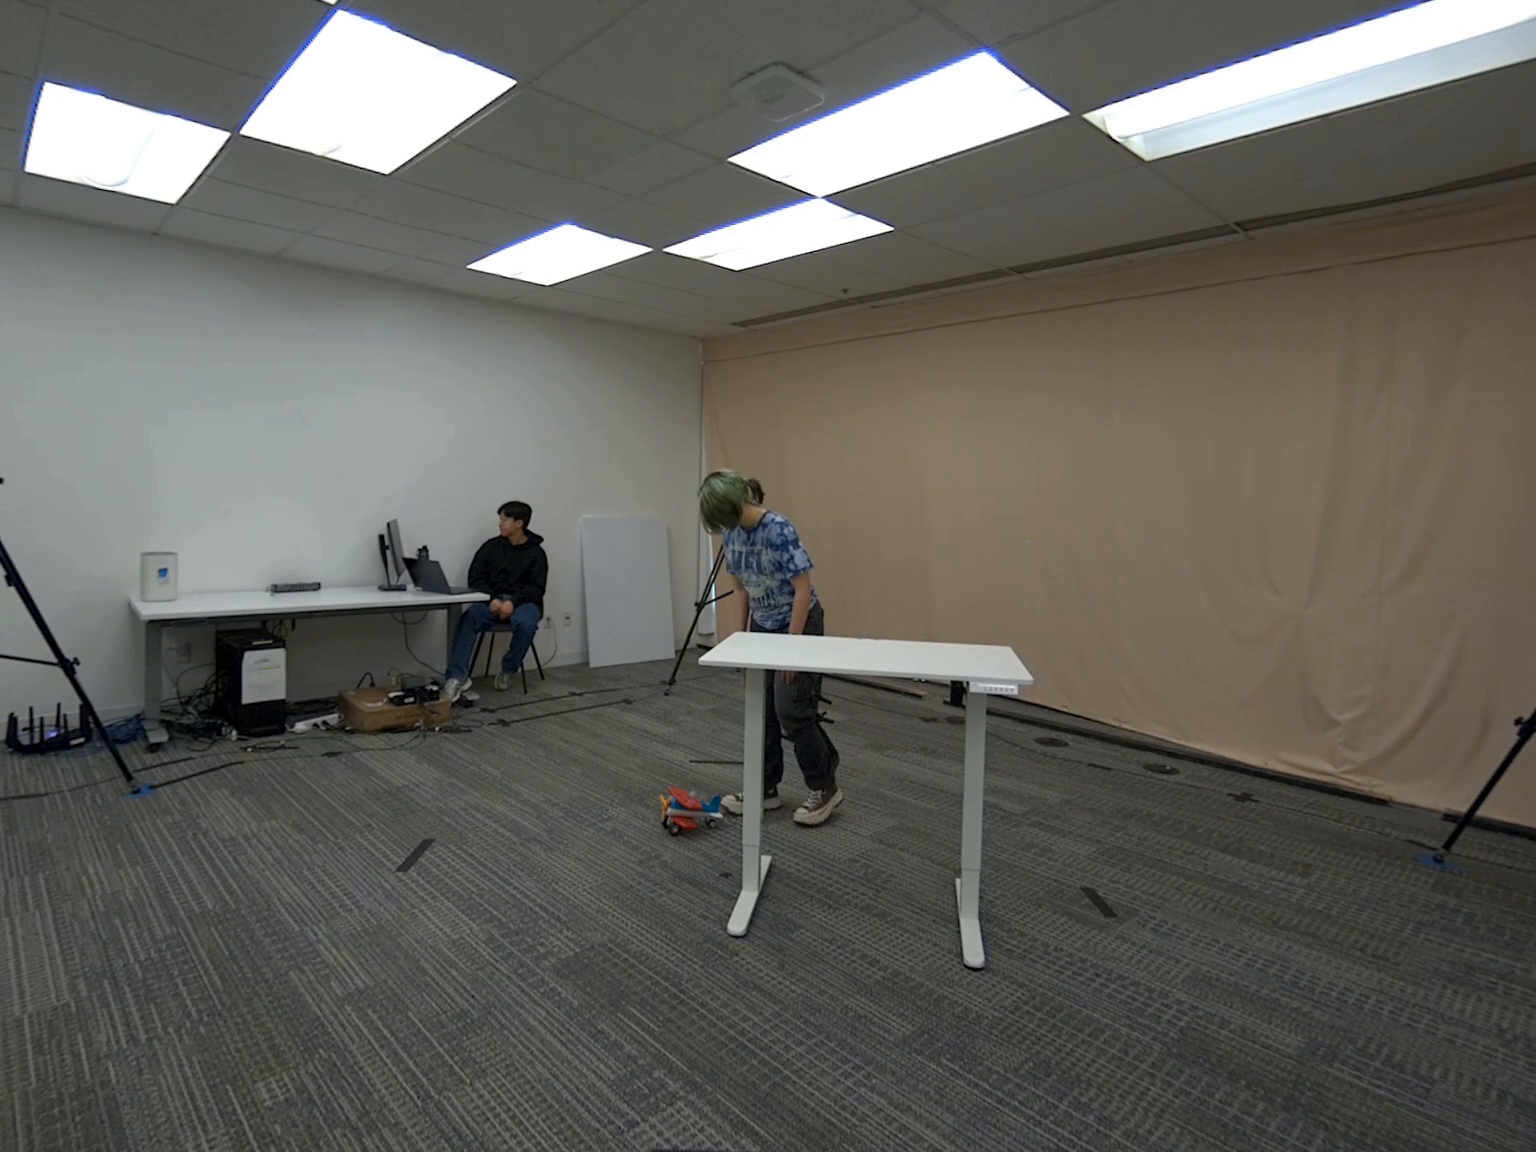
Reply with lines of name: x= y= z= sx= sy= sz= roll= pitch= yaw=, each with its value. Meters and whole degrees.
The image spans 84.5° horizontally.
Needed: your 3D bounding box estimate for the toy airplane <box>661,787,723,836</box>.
toy airplane: x=-0.344 y=0.986 z=3.538 sx=0.257 sy=0.156 sz=0.254 roll=4 pitch=6 yaw=36
